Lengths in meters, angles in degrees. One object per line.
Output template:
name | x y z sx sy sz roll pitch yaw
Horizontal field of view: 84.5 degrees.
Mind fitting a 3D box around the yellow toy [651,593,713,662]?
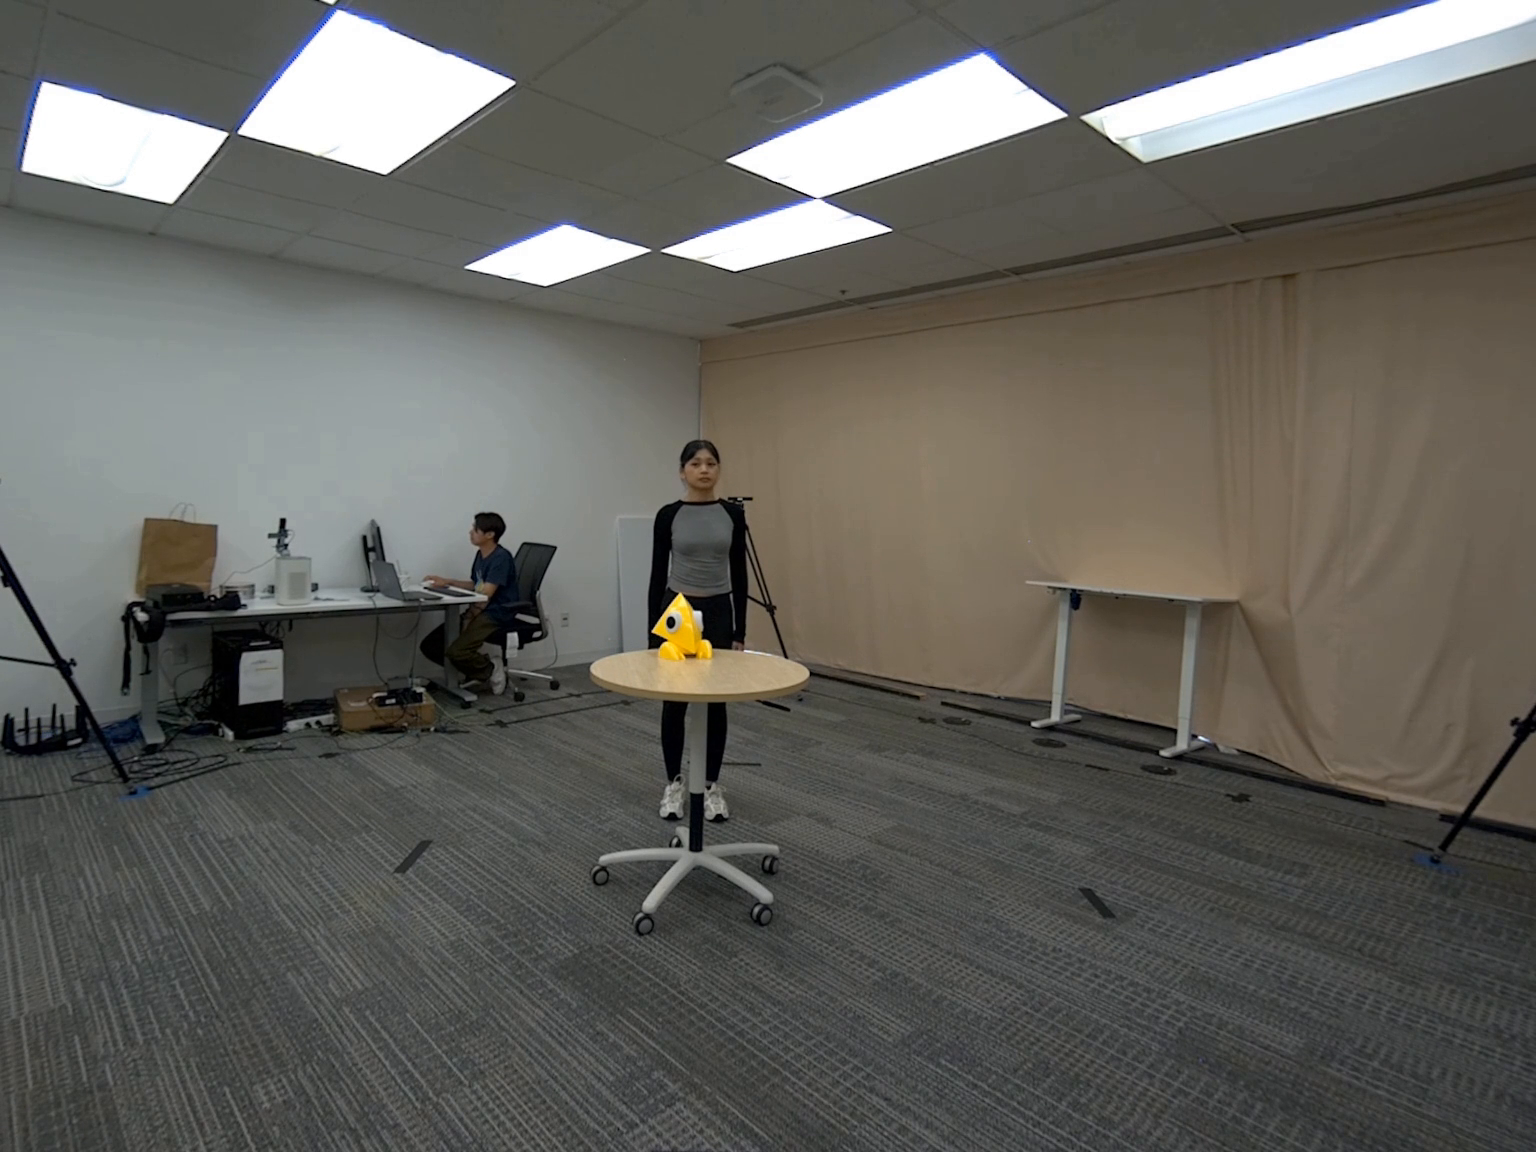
yellow toy | -0.325 0.186 3.183 0.201 0.230 0.197 0 5 -27
